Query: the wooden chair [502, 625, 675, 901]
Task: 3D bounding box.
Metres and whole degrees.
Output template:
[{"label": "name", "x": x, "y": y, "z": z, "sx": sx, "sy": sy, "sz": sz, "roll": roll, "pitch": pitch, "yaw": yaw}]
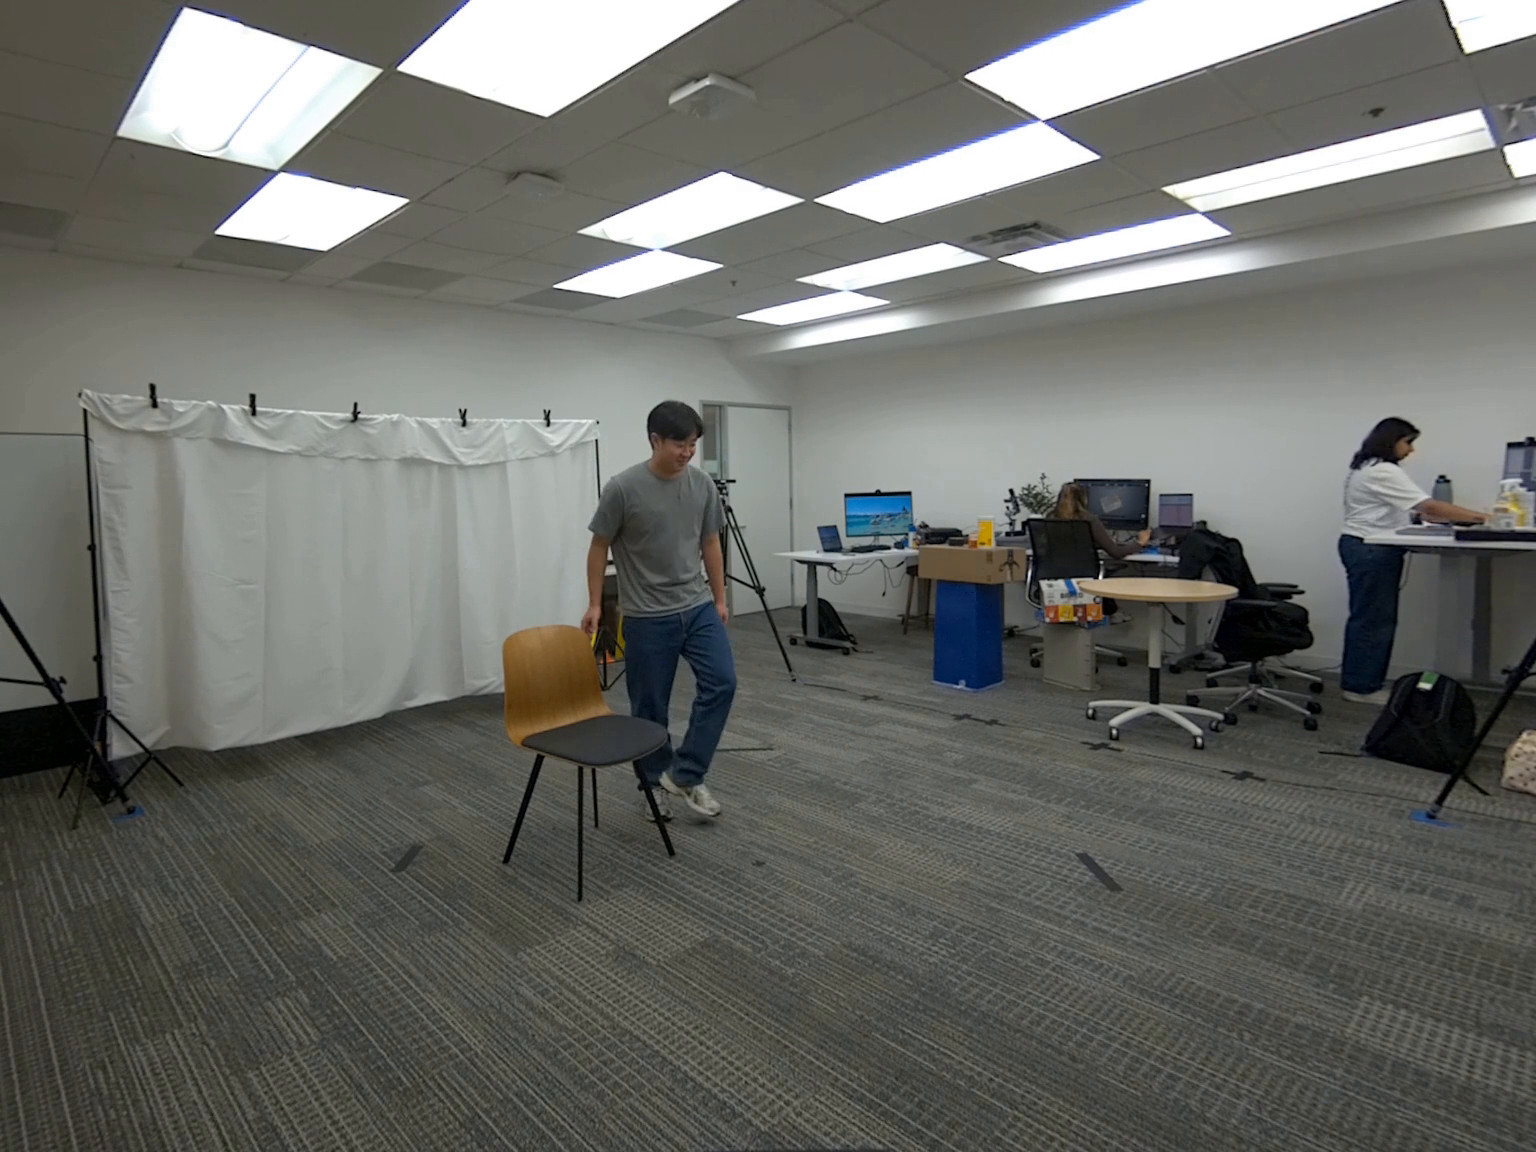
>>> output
[{"label": "wooden chair", "x": -0.665, "y": 0.630, "z": 3.129, "sx": 0.537, "sy": 0.877, "sz": 0.466, "roll": -4, "pitch": 1, "yaw": 40}]
